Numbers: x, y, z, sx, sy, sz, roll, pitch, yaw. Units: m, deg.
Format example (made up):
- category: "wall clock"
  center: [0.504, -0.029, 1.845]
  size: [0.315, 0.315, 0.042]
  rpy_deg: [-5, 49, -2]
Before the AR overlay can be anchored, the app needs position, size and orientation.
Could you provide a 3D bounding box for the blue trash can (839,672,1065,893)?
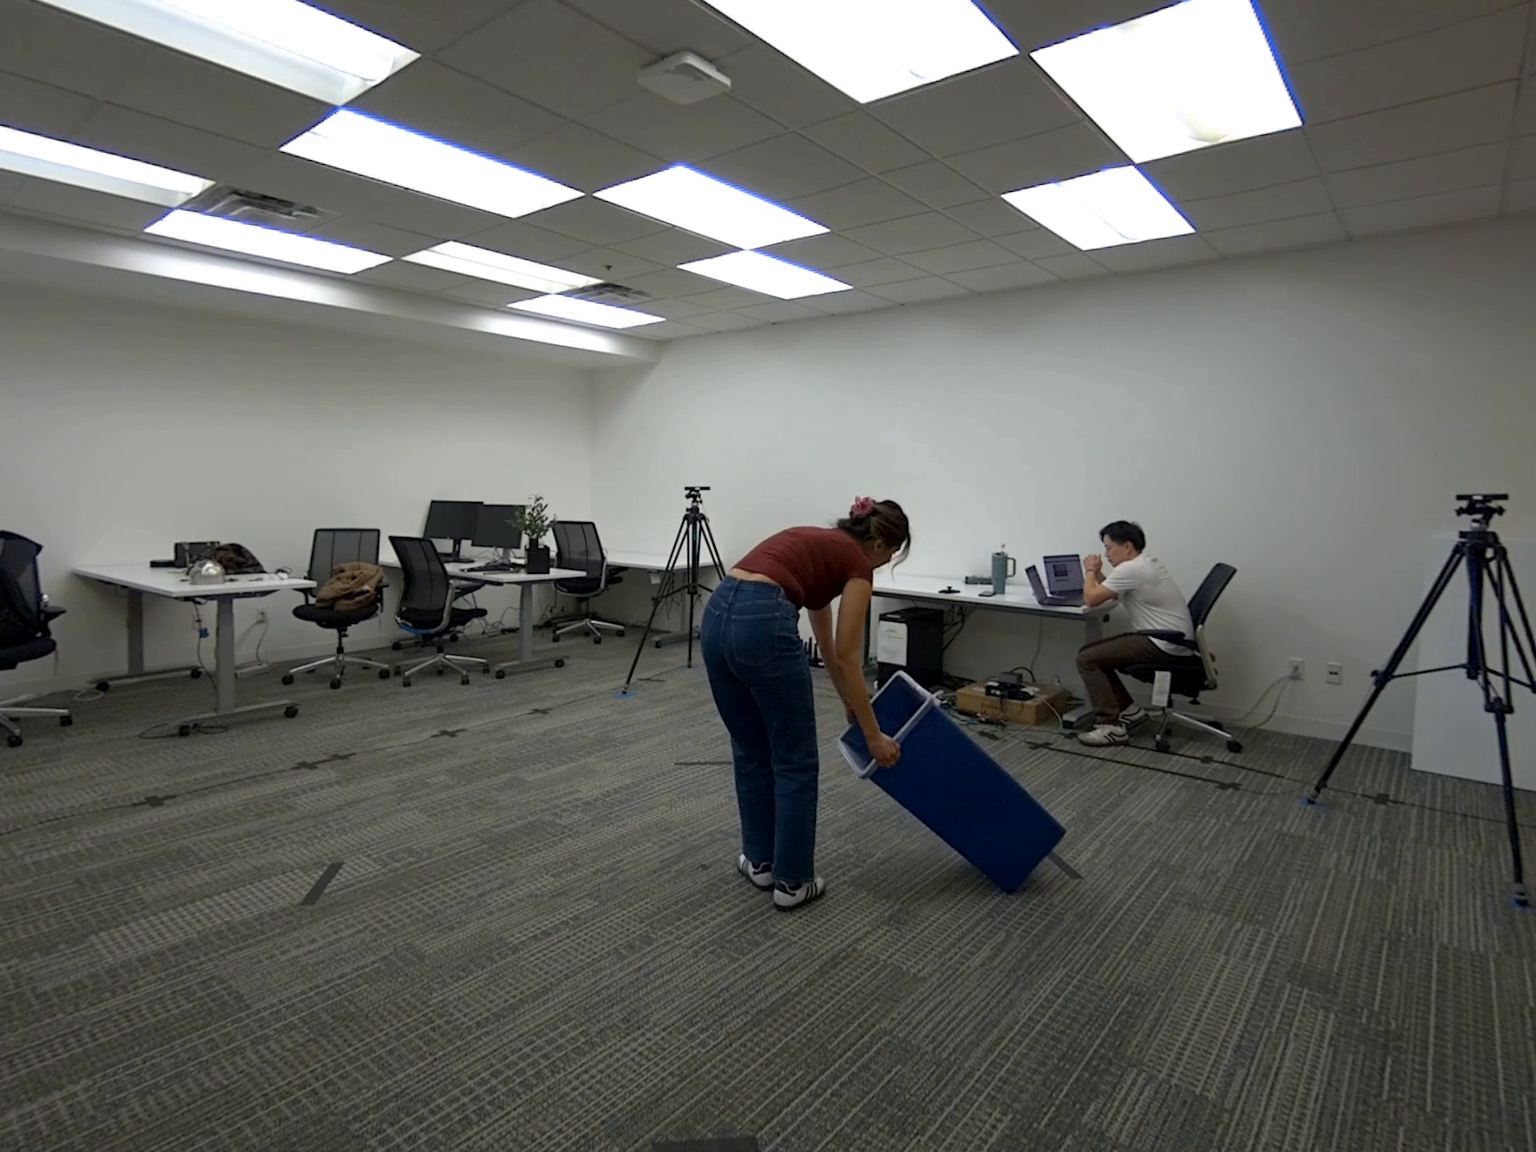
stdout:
- category: "blue trash can"
  center: [0.639, 0.747, 3.054]
  size: [0.706, 0.374, 0.382]
  rpy_deg: [43, 0, -8]
